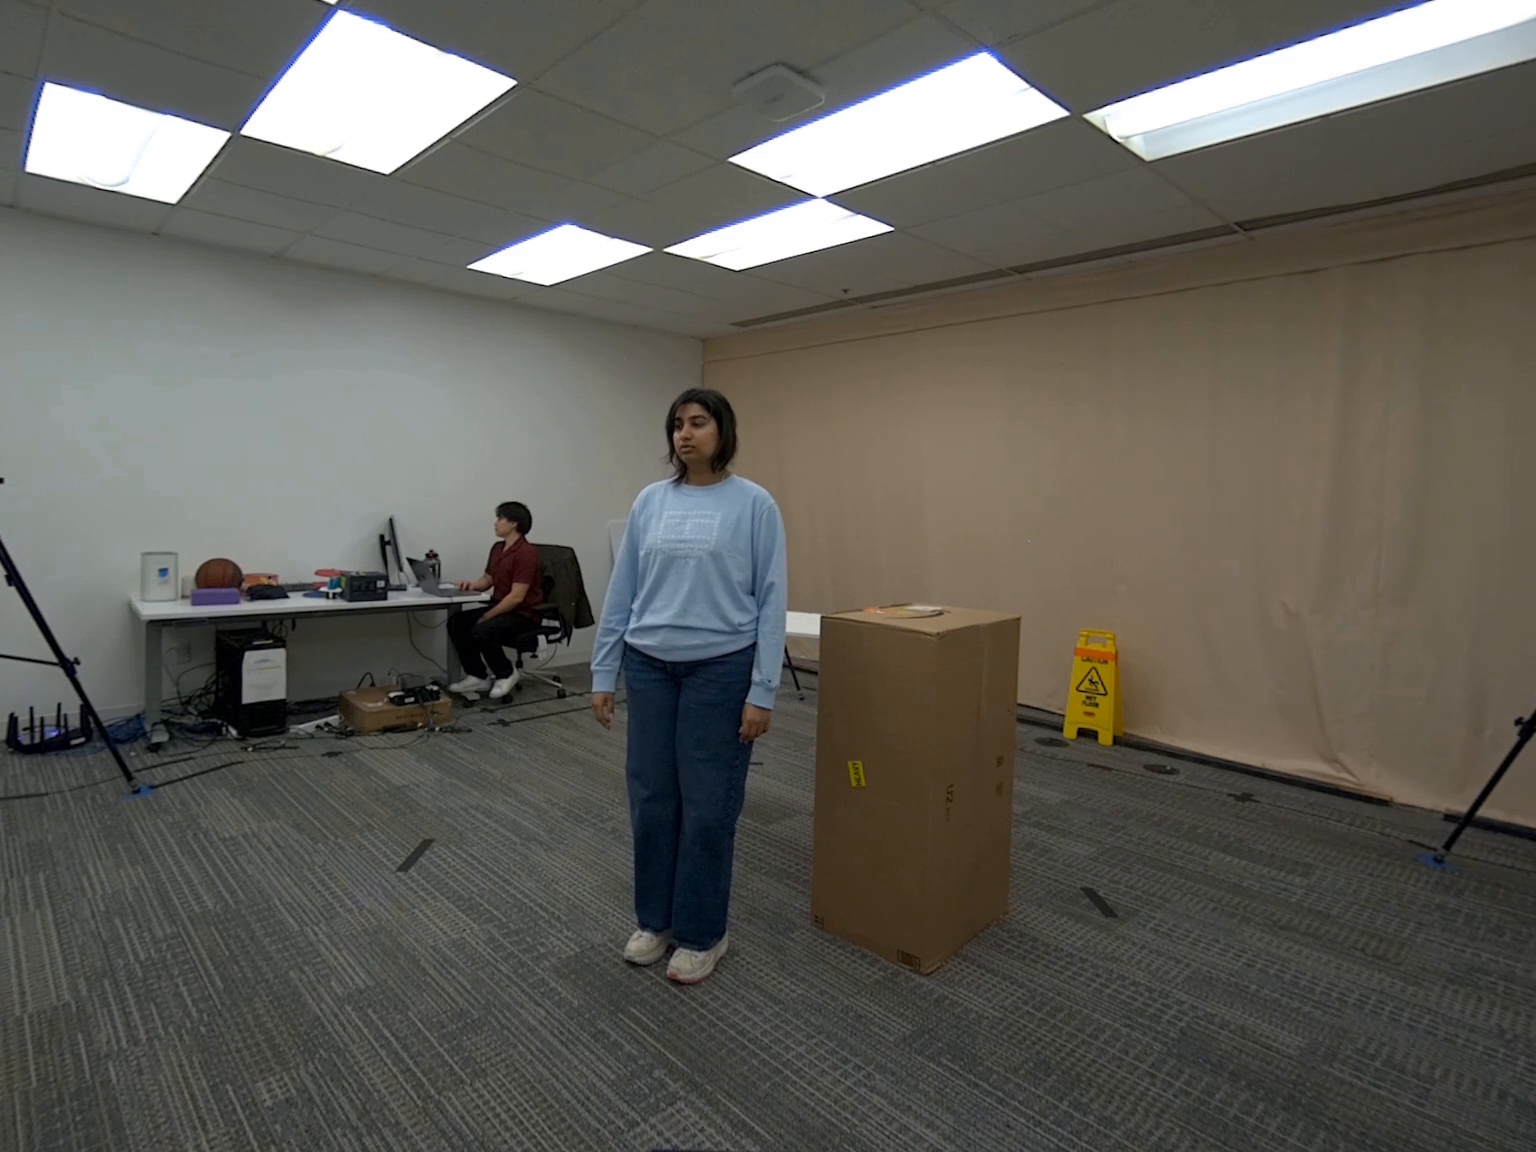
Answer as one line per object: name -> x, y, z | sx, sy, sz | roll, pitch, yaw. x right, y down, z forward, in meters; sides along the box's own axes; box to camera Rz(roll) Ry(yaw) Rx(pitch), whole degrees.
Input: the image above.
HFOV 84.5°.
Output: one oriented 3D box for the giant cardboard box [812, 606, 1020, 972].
giant cardboard box -> 0.488, 0.639, 2.799 | 0.437, 1.023, 0.564 | 5, 5, 41
